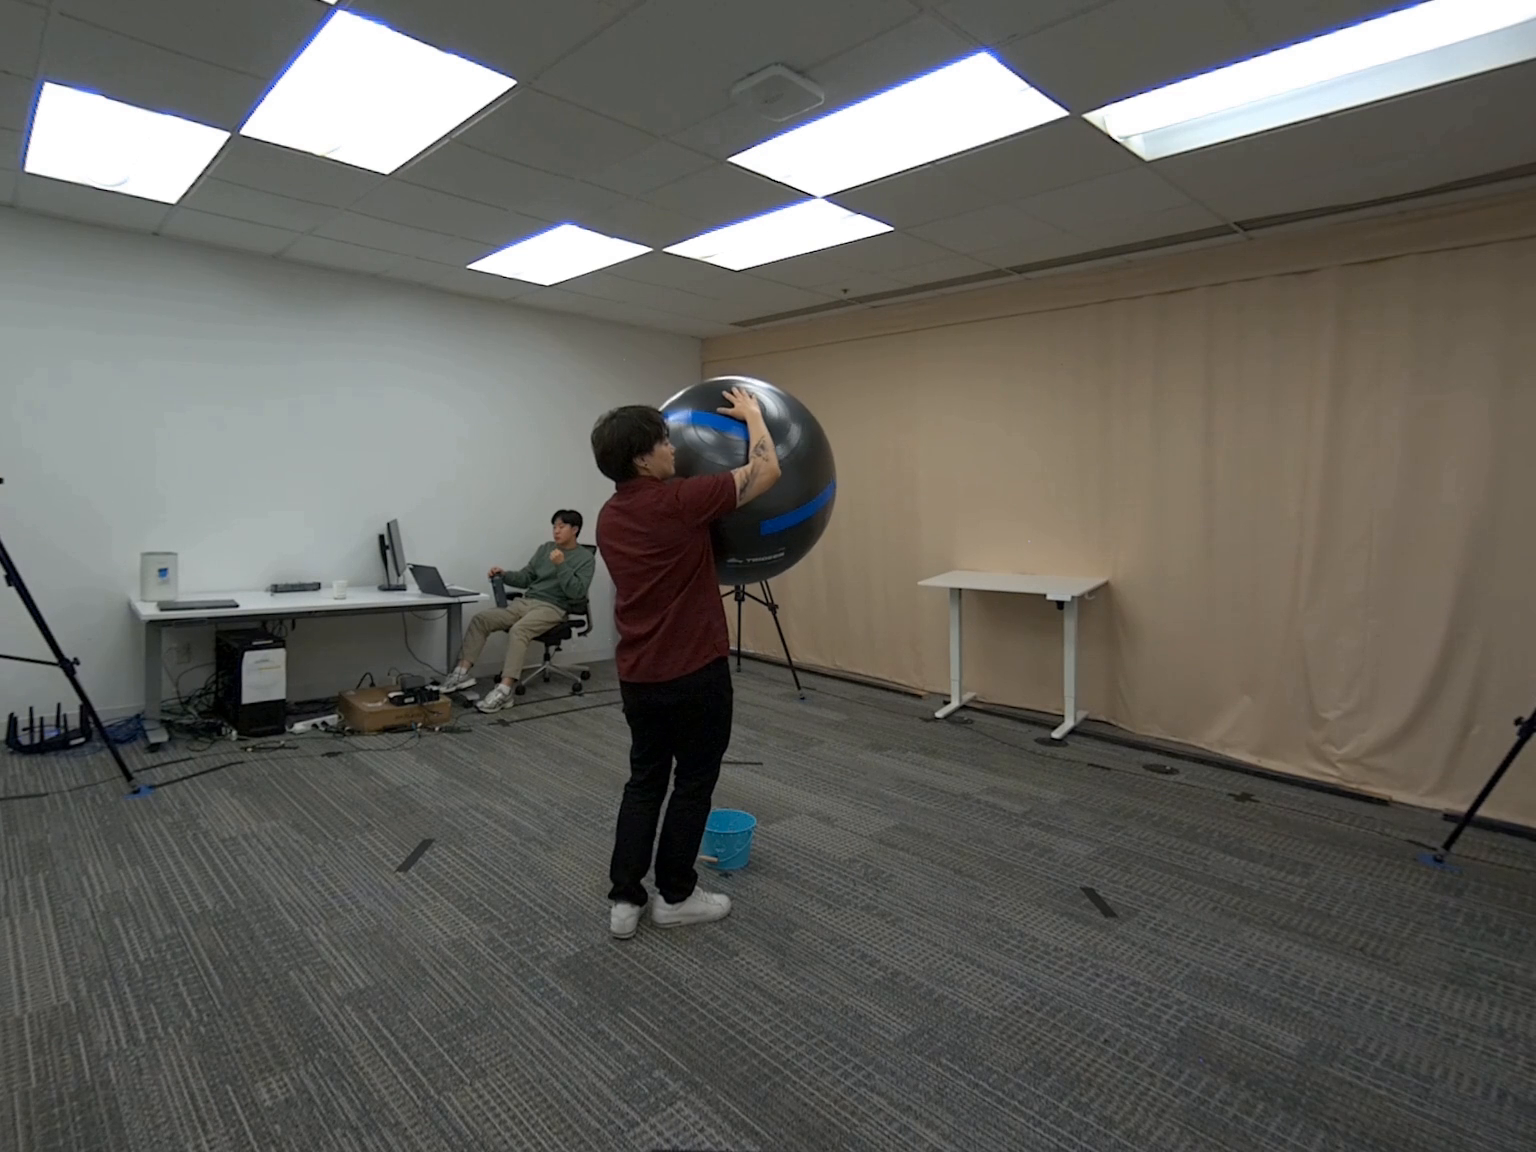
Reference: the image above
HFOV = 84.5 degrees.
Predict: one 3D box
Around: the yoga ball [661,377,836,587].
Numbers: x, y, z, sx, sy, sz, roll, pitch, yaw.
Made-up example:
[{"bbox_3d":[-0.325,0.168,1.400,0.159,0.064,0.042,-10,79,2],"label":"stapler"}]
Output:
[{"bbox_3d":[-0.133,-0.336,3.074,0.757,0.756,0.761,1,4,-1],"label":"yoga ball"}]
